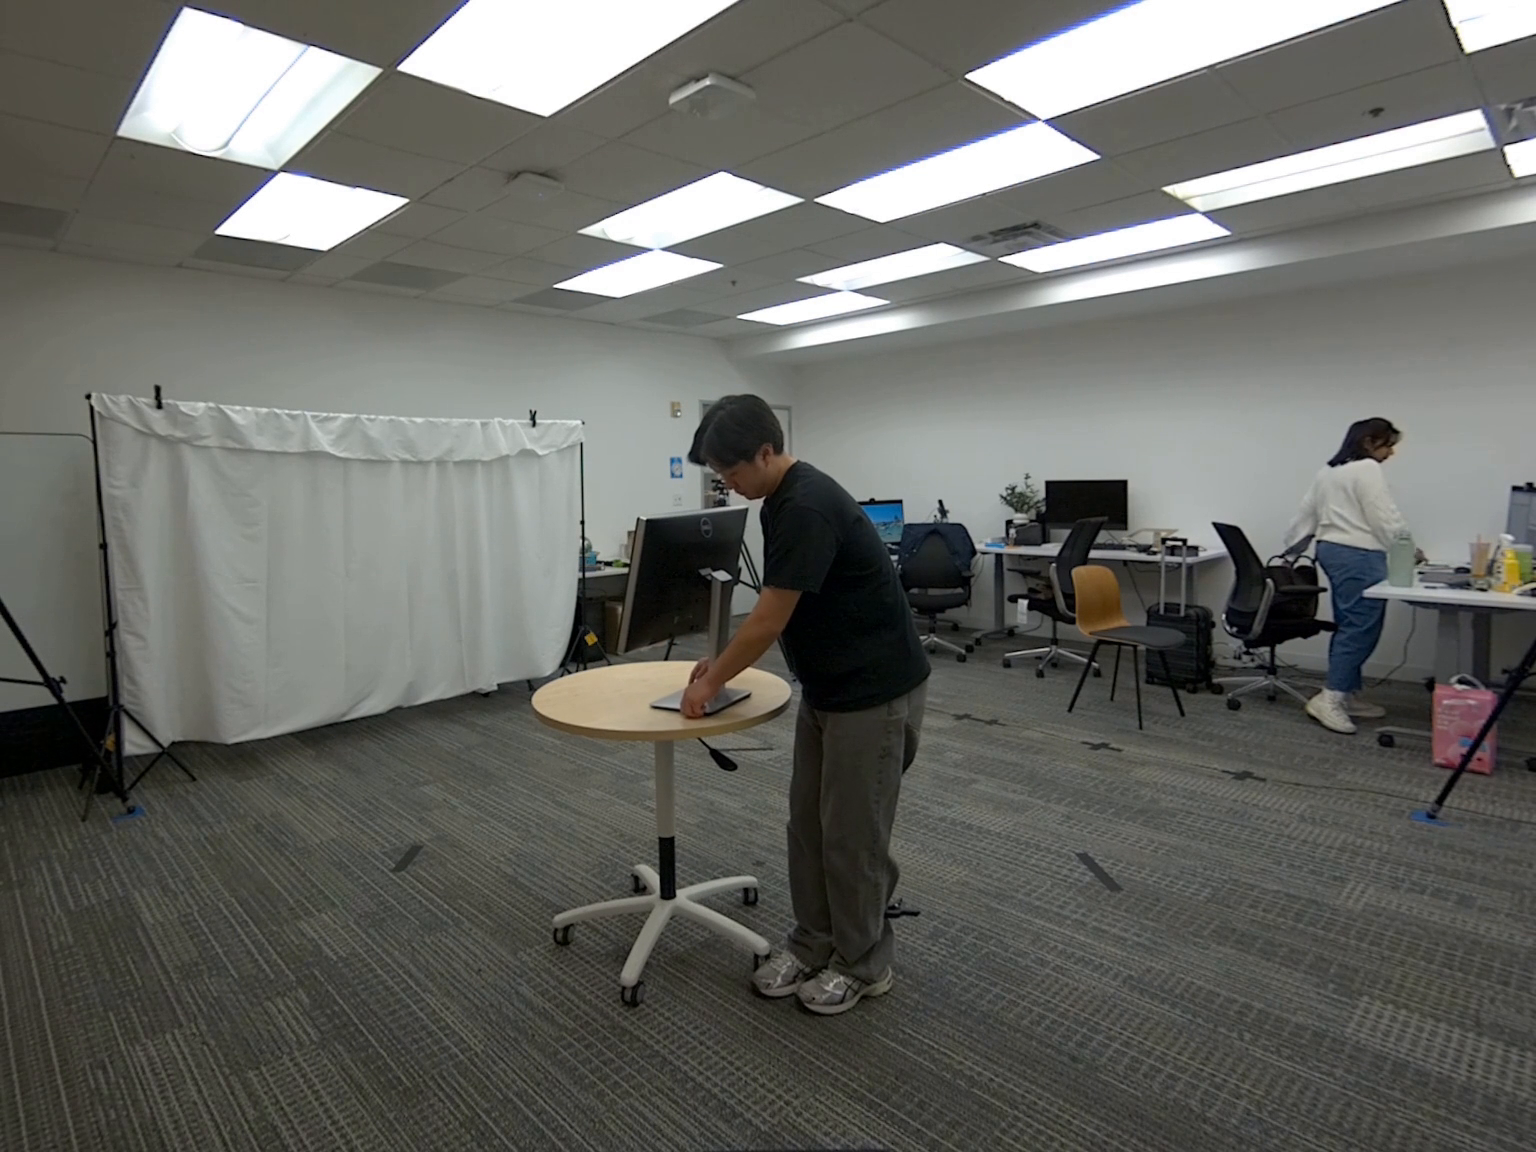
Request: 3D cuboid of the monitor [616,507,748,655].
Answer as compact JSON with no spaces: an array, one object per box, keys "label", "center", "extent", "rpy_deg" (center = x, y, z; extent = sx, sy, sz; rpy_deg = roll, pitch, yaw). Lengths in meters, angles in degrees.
[{"label":"monitor","center":[-0.192,0.094,2.400],"extent":[0.228,0.564,0.549],"rpy_deg":[-1,5,31]}]
